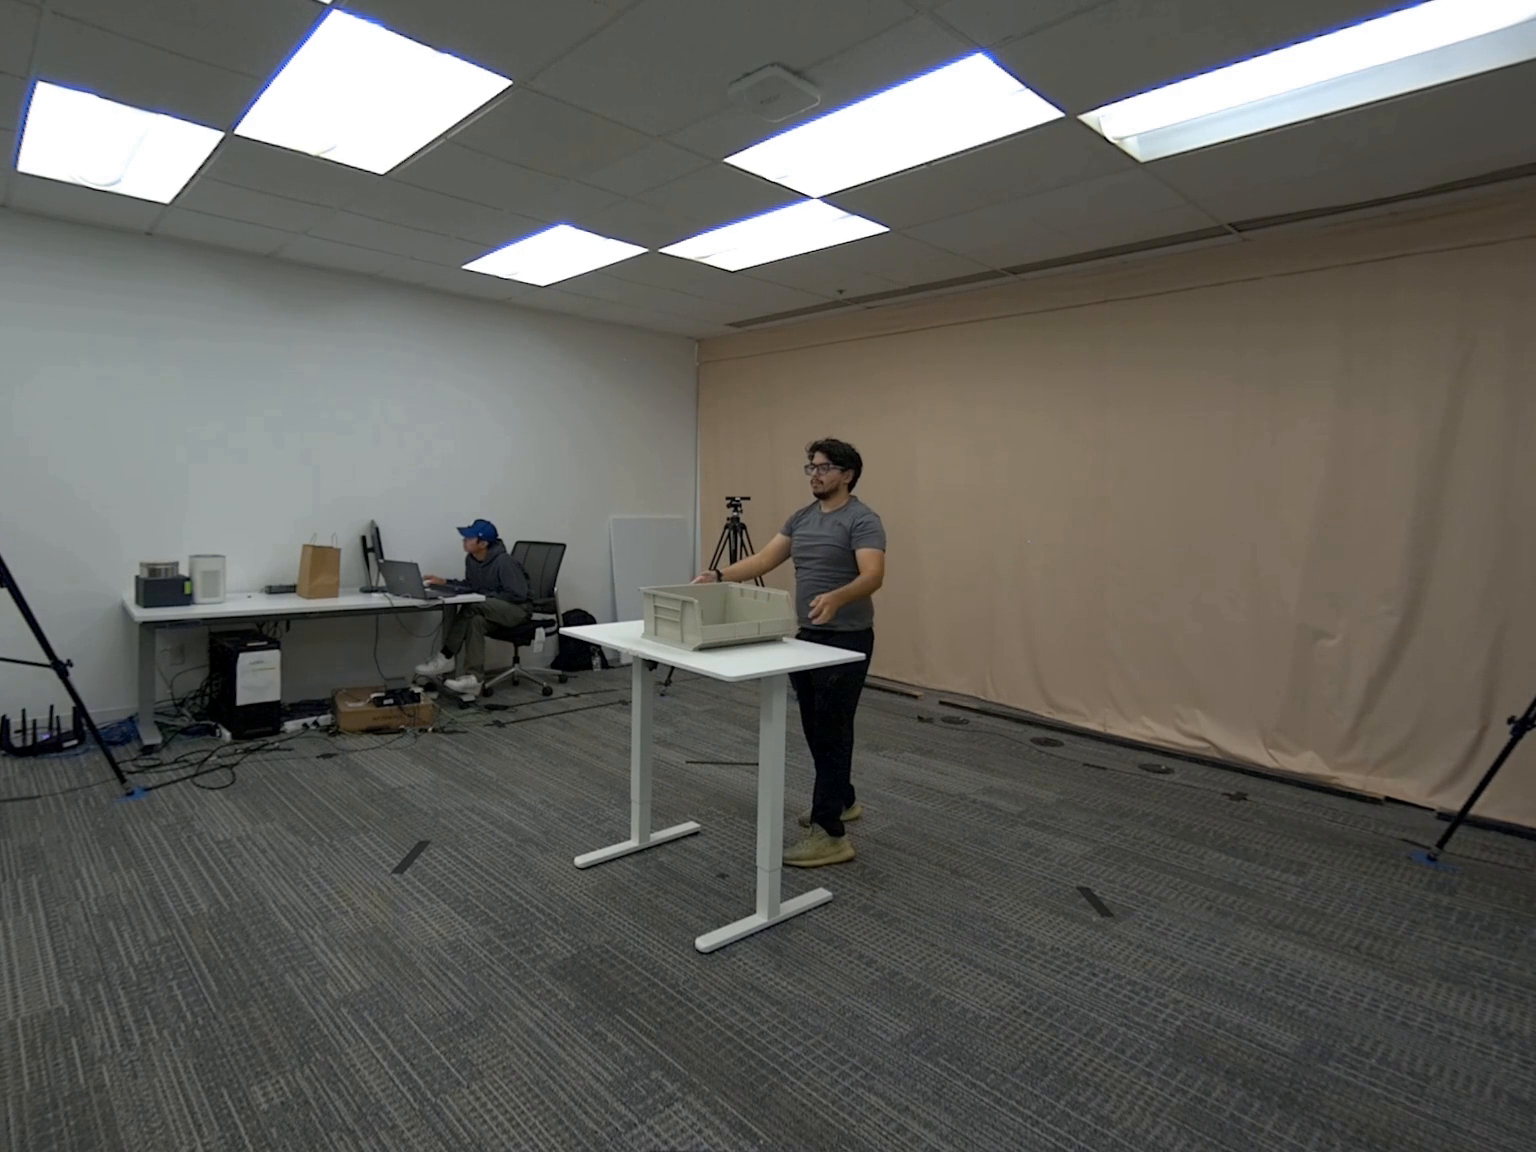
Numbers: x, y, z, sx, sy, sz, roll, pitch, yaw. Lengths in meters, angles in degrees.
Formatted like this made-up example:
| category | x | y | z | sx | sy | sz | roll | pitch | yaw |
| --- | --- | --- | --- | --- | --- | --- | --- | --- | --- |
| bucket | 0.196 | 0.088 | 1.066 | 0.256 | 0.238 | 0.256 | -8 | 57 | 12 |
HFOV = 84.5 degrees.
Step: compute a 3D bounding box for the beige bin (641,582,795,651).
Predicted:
| category | x | y | z | sx | sy | sz | roll | pitch | yaw |
| --- | --- | --- | --- | --- | --- | --- | --- | --- | --- |
| beige bin | -0.190 | 0.142 | 3.014 | 0.413 | 0.188 | 0.387 | -4 | 6 | -39 |
